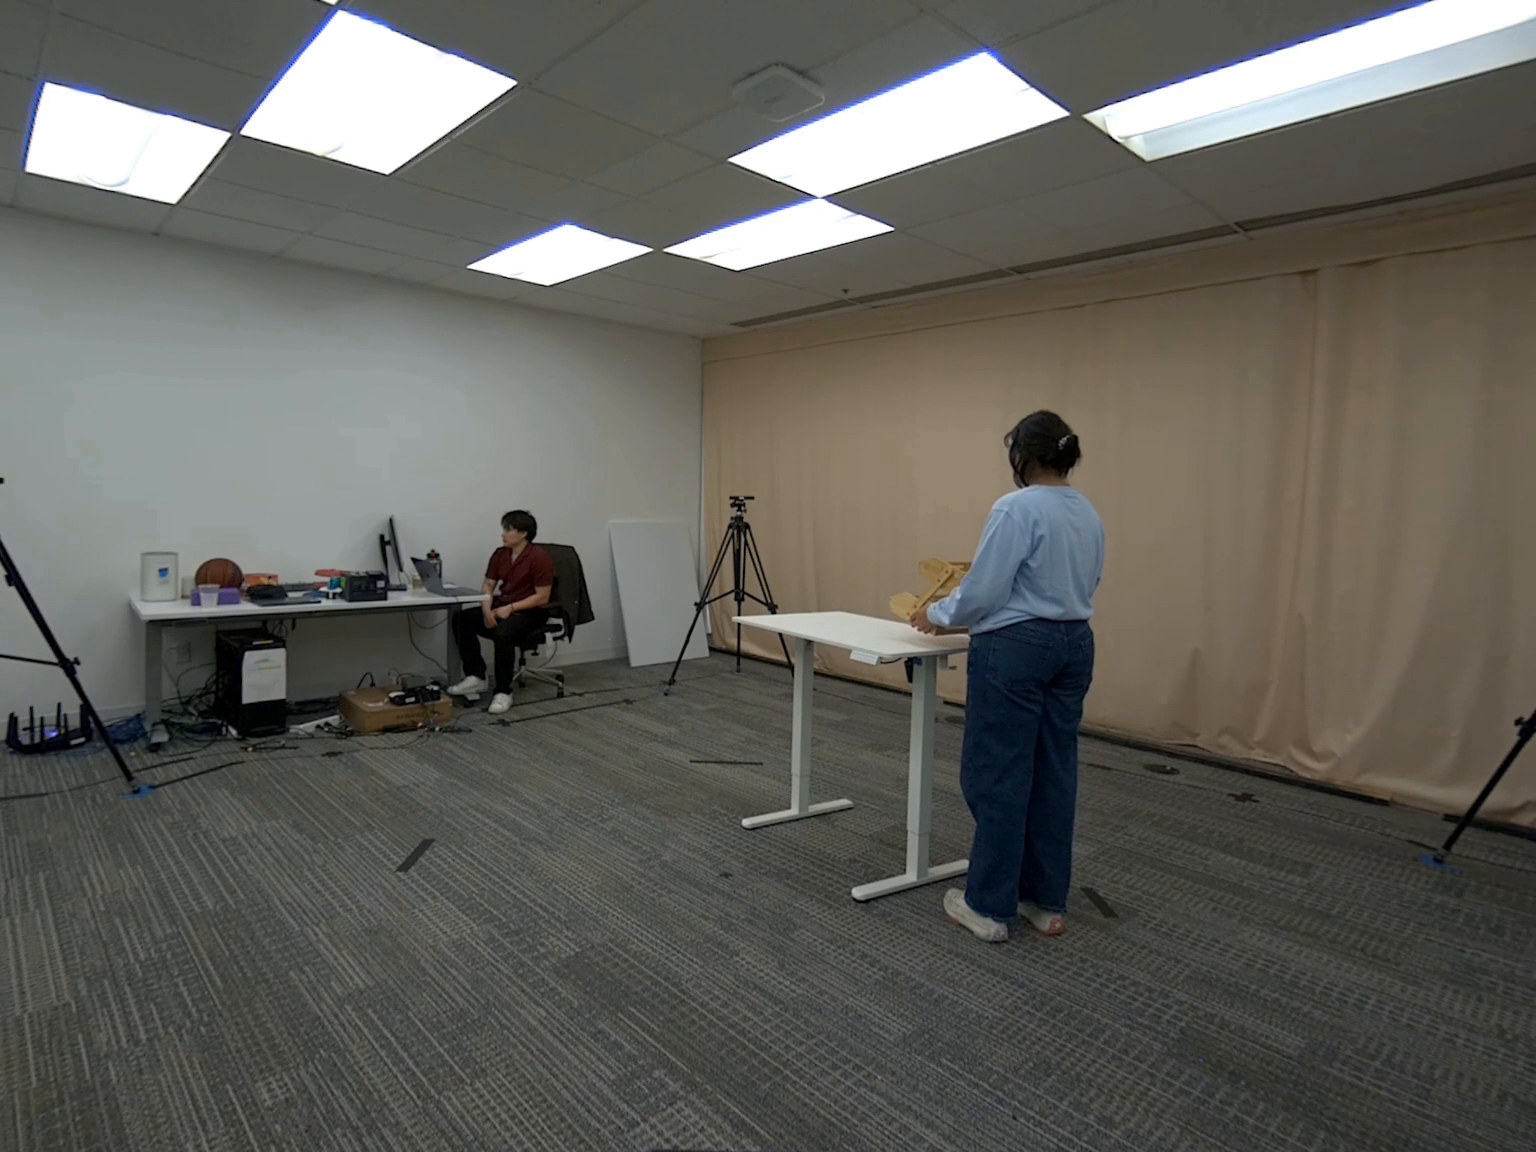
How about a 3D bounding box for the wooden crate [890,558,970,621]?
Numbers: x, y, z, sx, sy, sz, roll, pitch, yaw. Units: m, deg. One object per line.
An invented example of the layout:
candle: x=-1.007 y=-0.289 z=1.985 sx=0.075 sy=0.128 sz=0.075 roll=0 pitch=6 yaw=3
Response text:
wooden crate: x=0.674 y=0.051 z=3.065 sx=0.317 sy=0.271 sz=0.311 roll=0 pitch=21 yaw=-35
